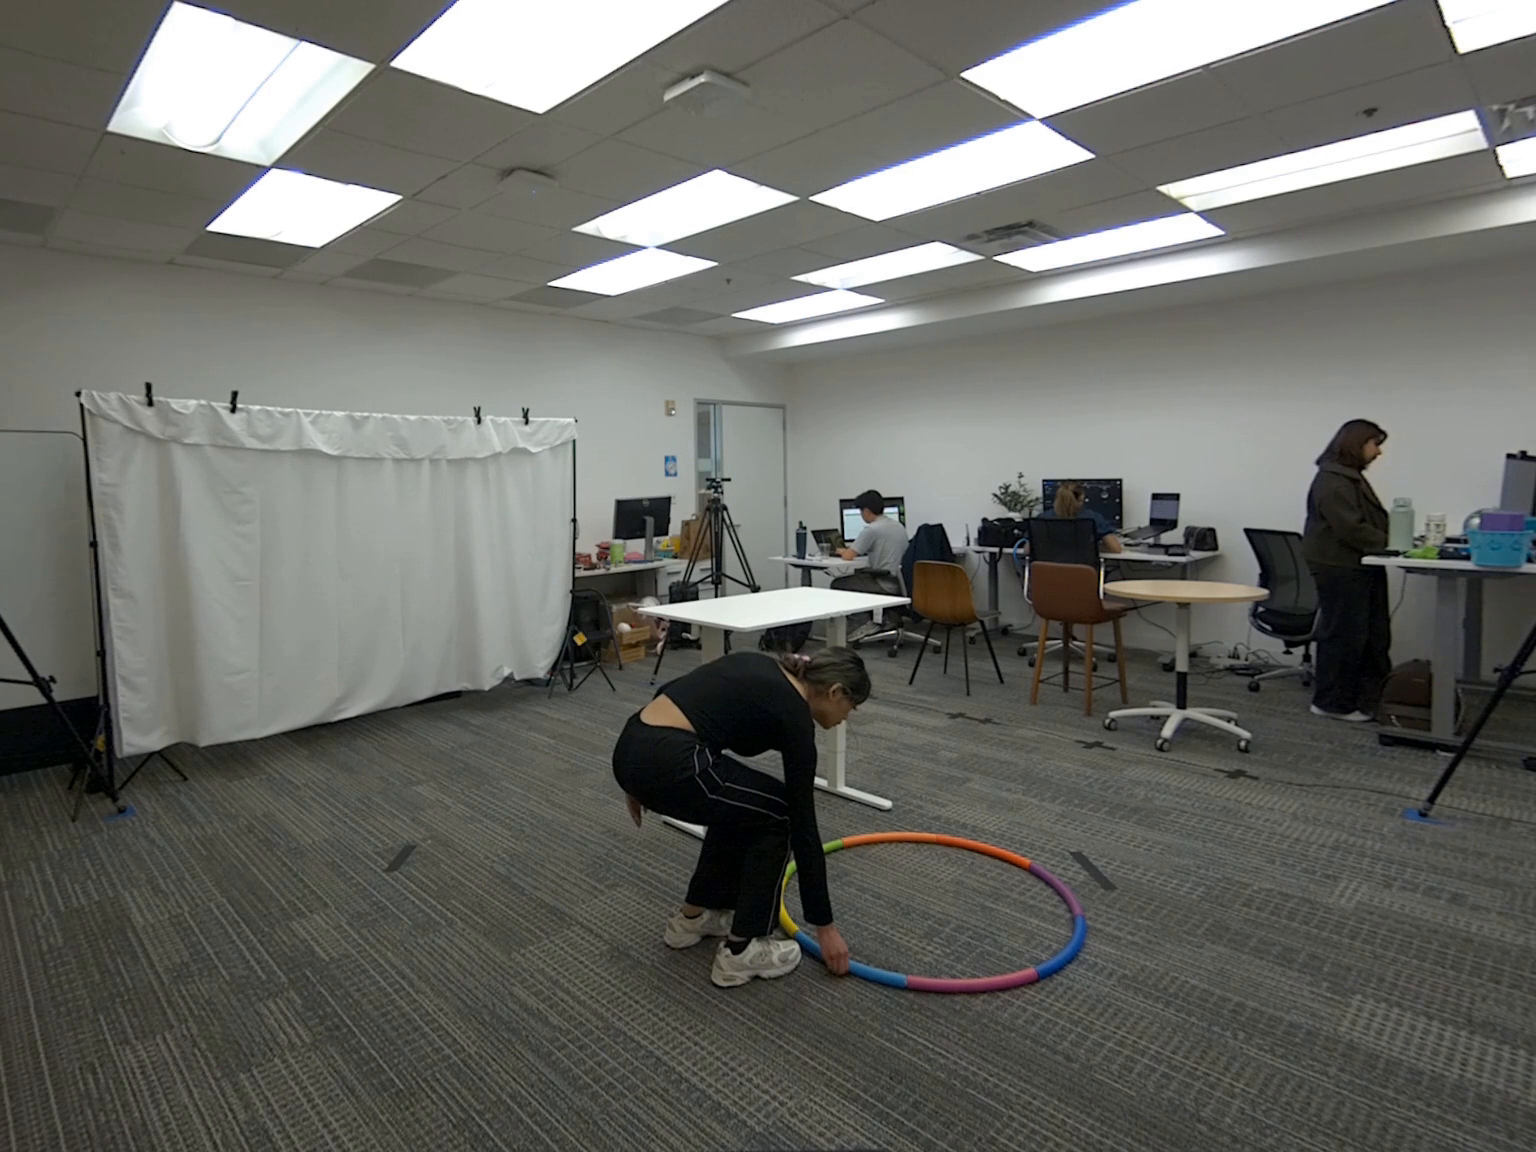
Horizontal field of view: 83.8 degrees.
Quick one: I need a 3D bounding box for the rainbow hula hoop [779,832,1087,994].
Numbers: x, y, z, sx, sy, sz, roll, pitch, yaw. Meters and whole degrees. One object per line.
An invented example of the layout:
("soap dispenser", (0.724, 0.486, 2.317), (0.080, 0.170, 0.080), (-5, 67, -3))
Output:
("rainbow hula hoop", (0.501, 1.039, 2.791), (0.978, 0.035, 0.984), (-1, 7, -2))
